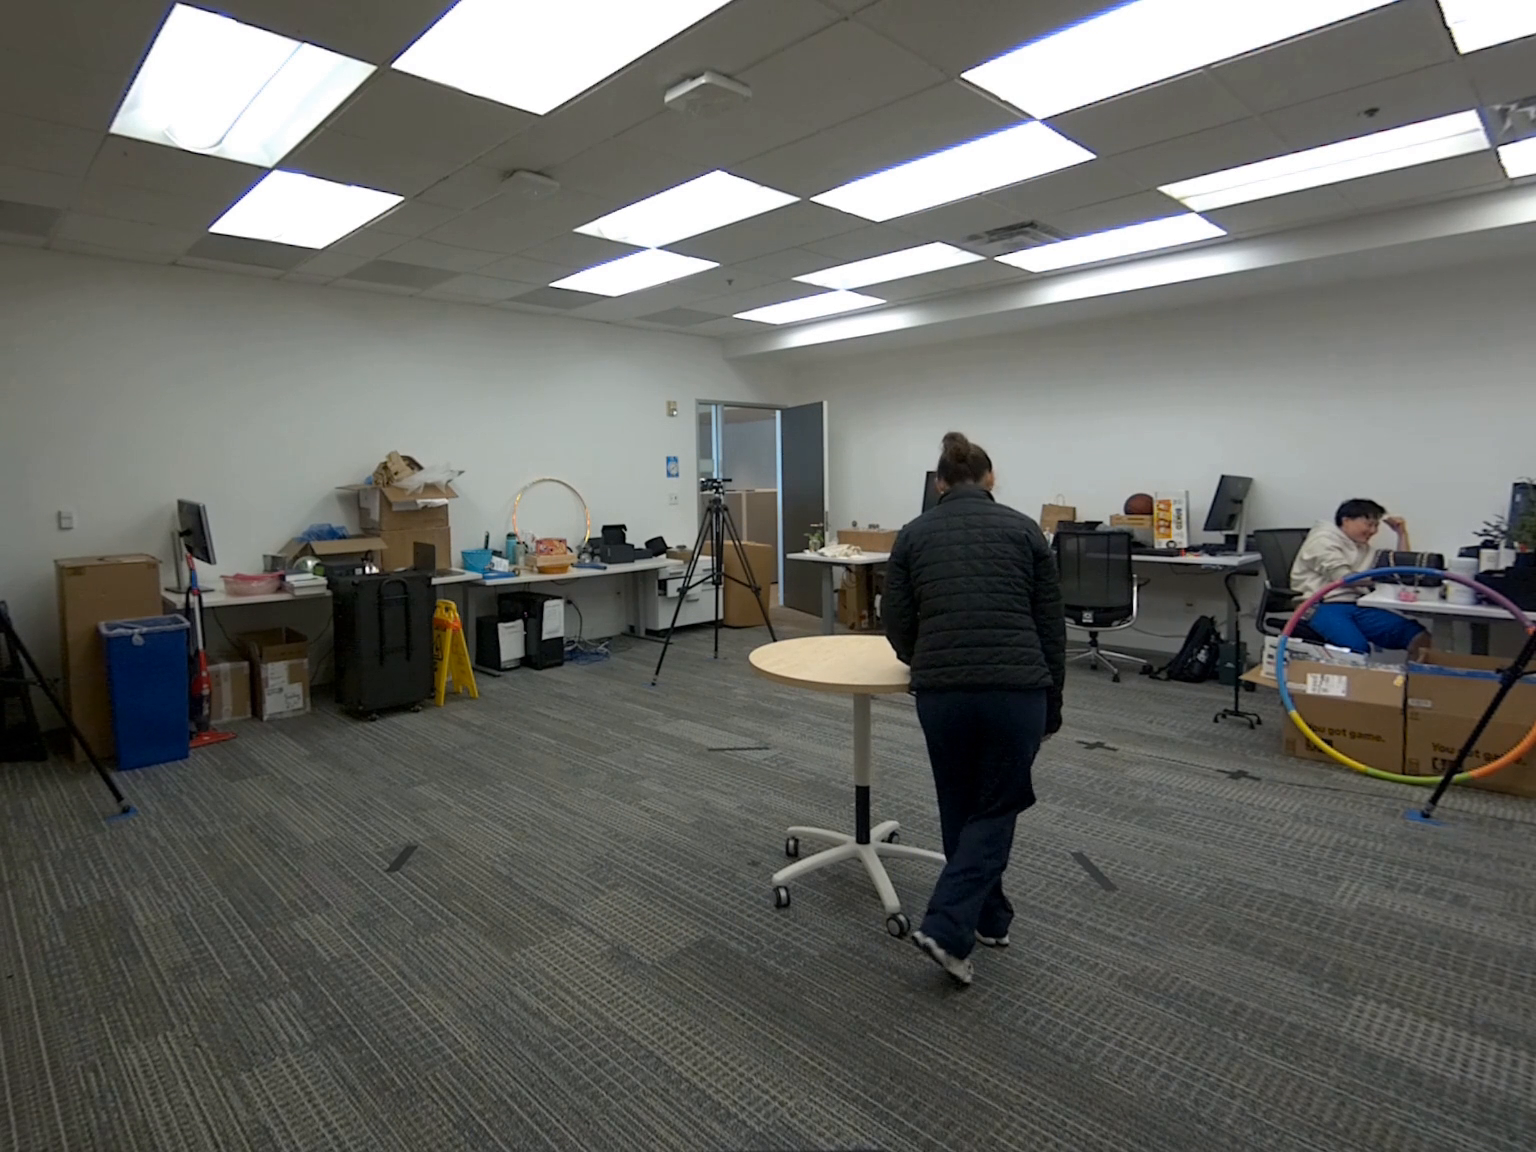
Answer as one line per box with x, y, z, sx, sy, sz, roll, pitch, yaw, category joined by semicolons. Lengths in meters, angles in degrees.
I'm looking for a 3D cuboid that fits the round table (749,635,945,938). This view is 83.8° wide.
0.312;0.659;2.956;0.784;0.783;0.789;-1;5;-2;round table
